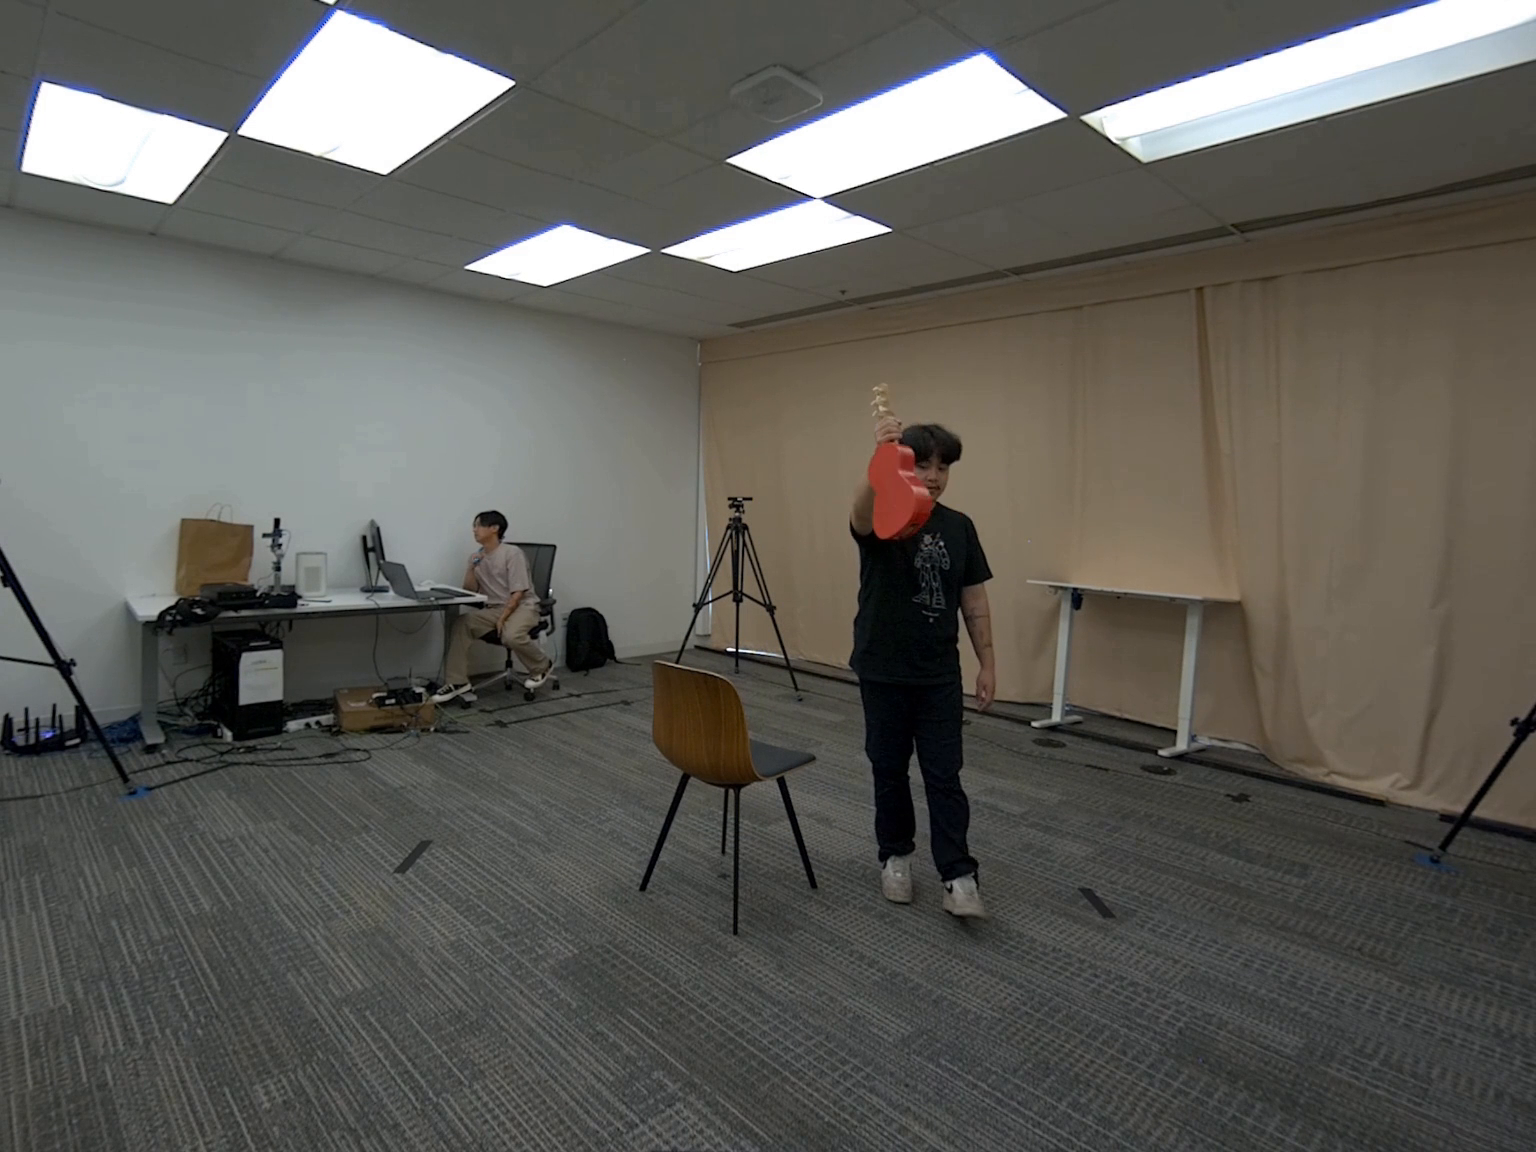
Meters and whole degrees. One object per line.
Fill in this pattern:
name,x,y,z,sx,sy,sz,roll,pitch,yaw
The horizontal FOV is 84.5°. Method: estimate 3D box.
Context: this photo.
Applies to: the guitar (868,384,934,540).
guitar,0.337,-0.328,2.432,0.069,0.510,0.192,6,-36,-25
